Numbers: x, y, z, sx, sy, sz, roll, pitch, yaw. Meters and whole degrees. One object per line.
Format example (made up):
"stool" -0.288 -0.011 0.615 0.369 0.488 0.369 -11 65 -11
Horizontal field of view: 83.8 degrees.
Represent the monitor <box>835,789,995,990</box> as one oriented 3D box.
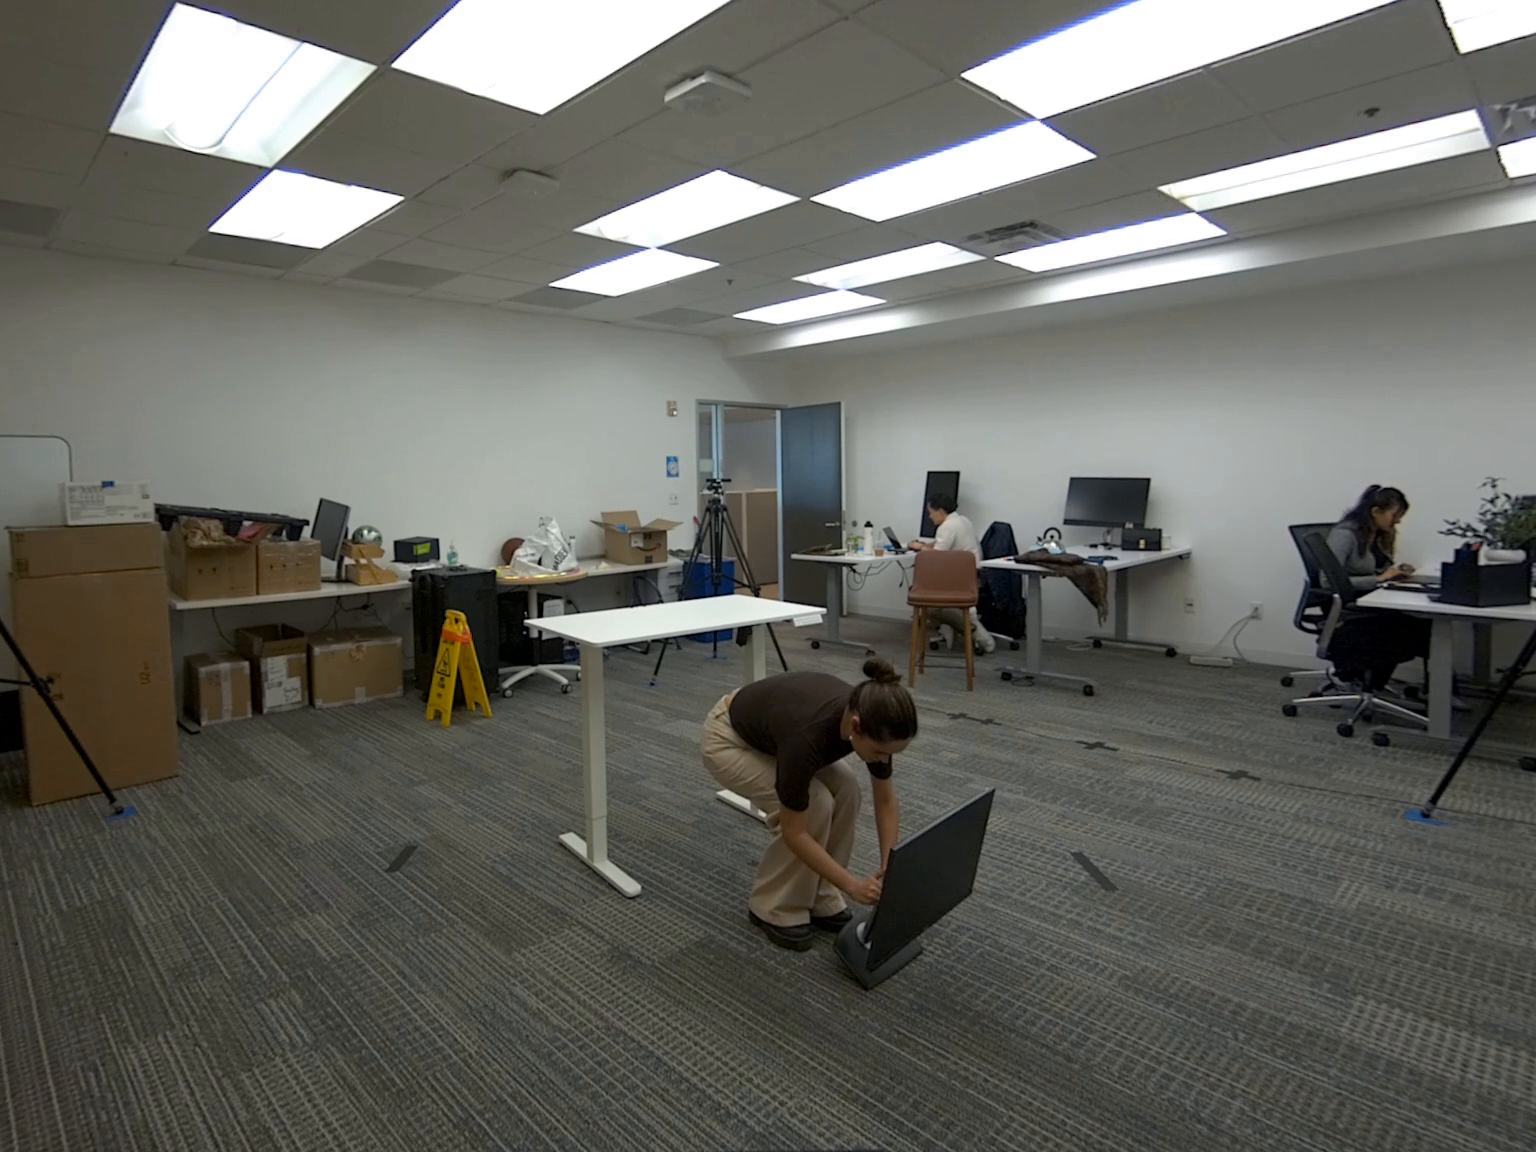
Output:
"monitor" 0.397 0.855 2.355 0.194 0.517 0.525 36 28 33
